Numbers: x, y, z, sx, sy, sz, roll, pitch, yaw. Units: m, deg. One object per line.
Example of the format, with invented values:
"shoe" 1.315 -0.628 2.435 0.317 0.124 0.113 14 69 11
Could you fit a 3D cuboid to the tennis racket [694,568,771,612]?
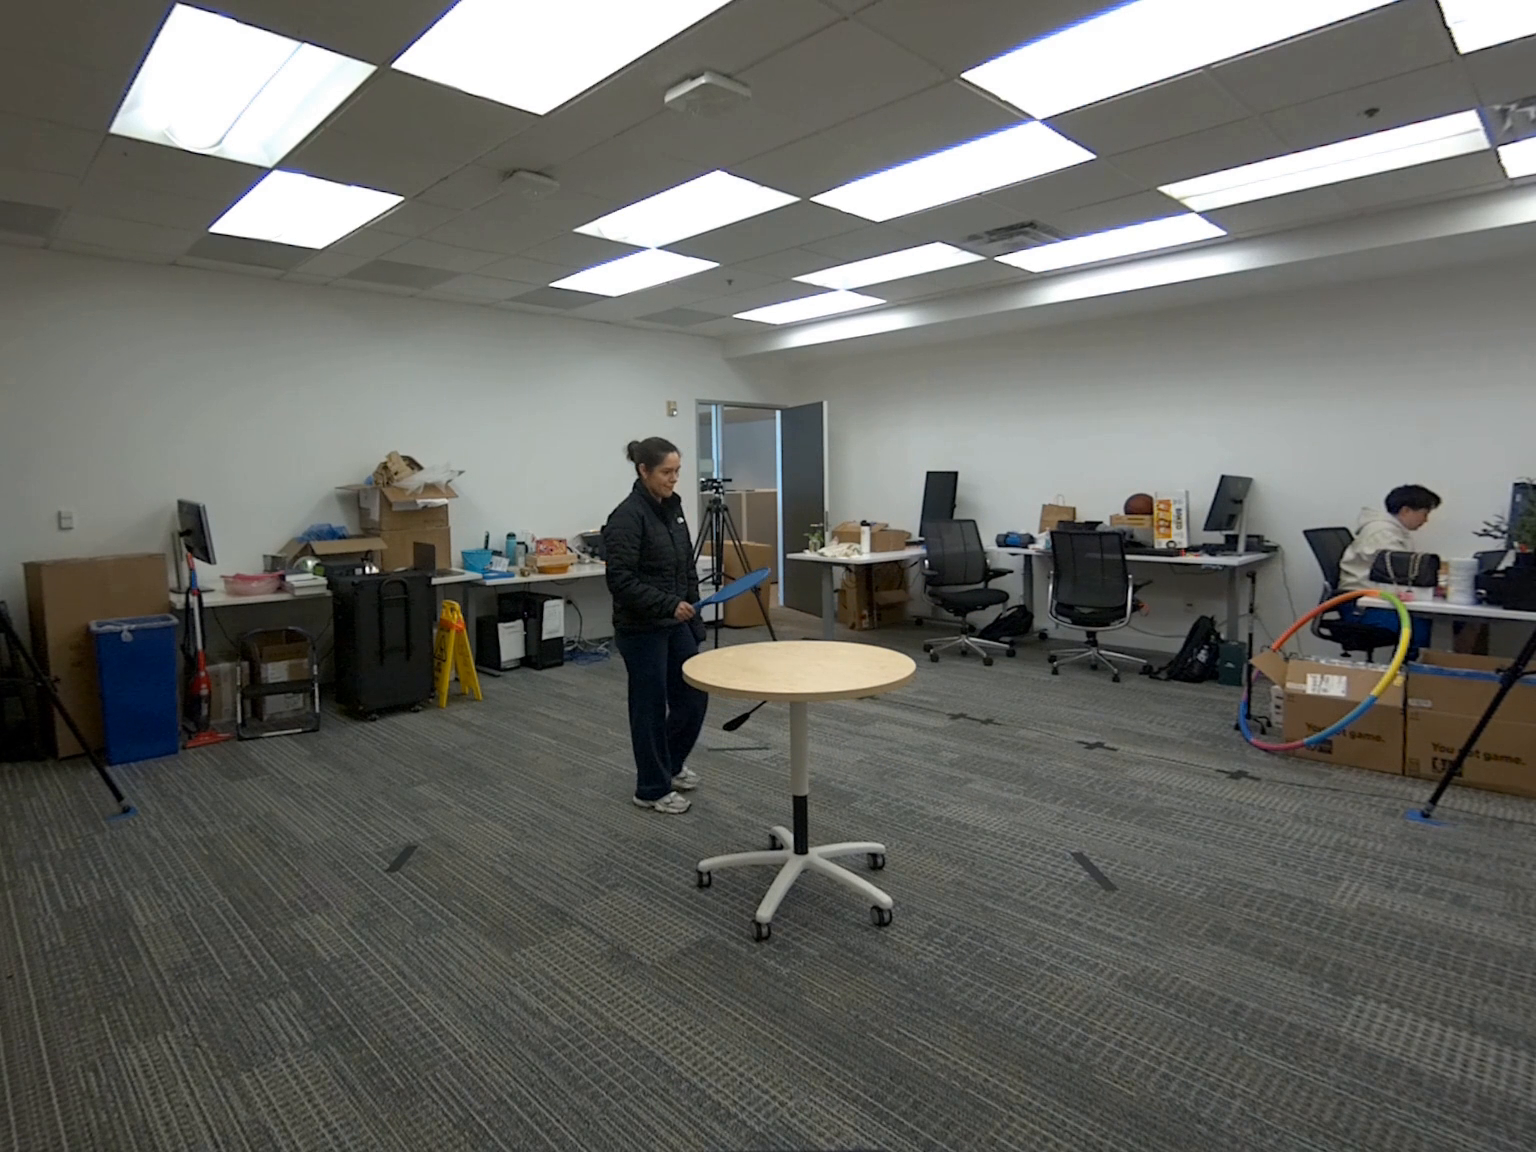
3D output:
"tennis racket" -0.162 0.073 3.332 0.437 0.031 0.214 -25 14 24
